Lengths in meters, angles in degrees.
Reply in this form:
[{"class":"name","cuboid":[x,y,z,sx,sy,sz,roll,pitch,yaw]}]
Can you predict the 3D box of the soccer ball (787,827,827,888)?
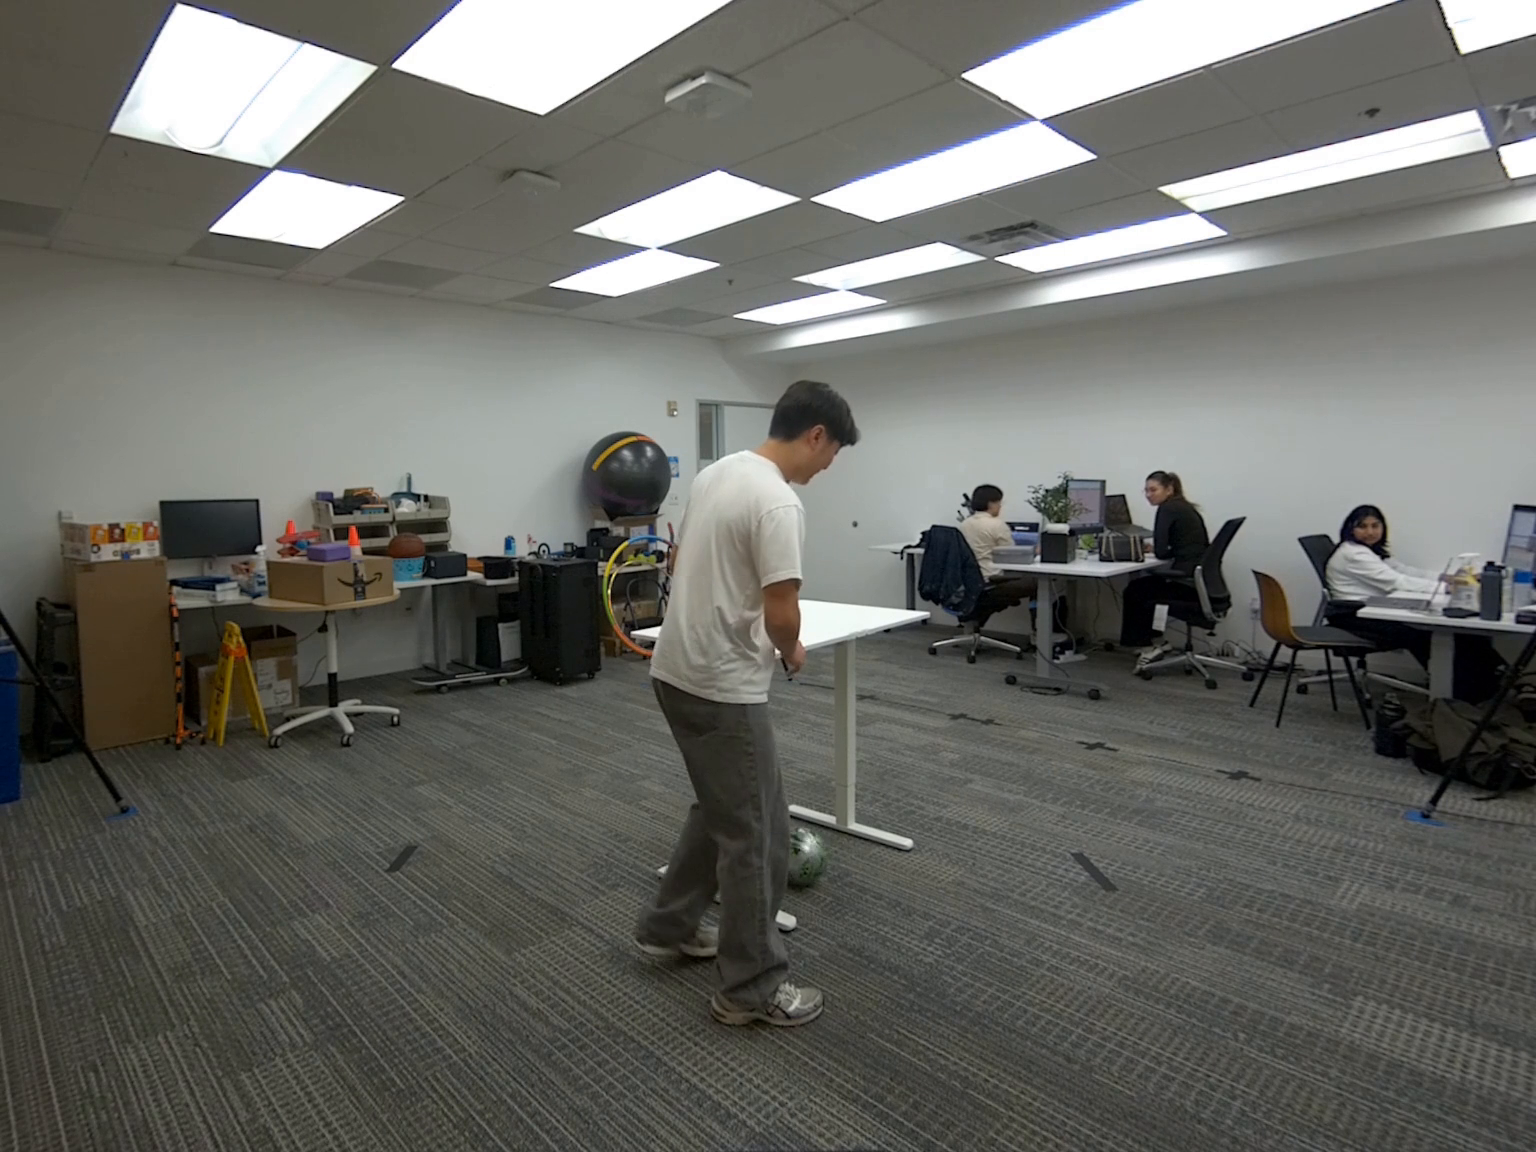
[{"class":"soccer ball","cuboid":[0.112,0.967,2.952,0.187,0.187,0.188,-1,5,-2]}]
